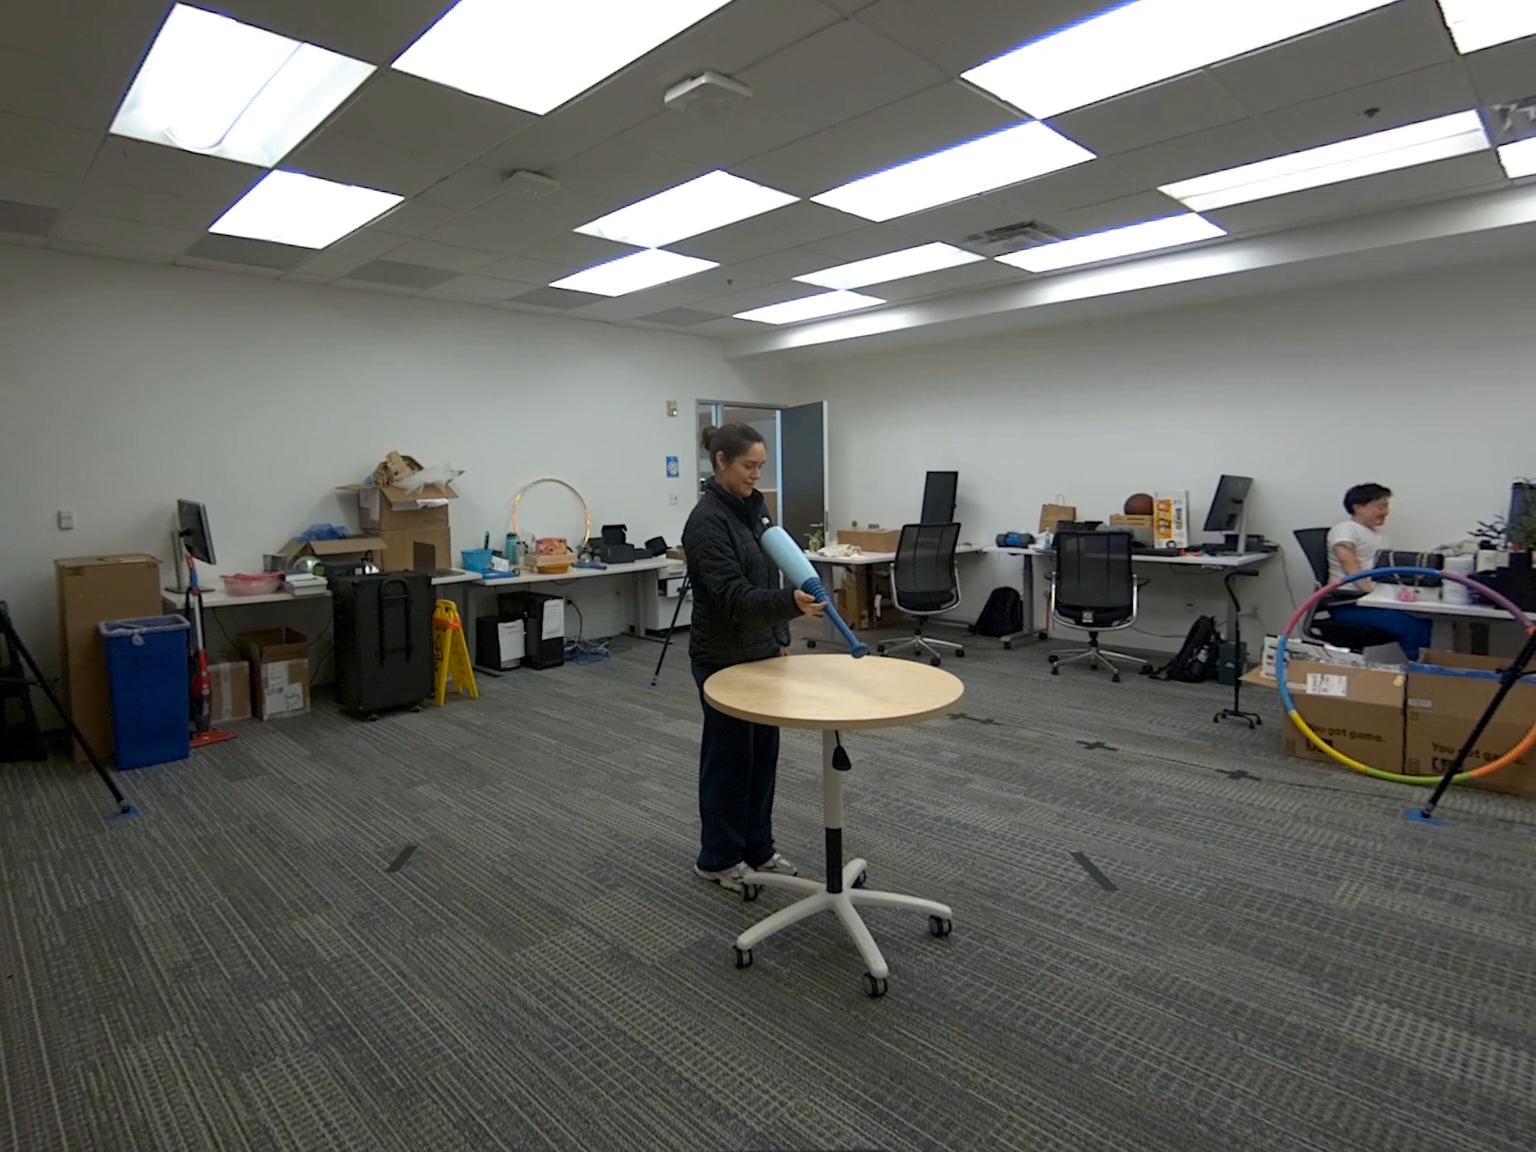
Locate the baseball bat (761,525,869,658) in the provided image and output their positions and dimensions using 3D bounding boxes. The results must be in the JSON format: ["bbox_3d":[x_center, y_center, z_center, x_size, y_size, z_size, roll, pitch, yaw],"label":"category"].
[{"bbox_3d":[0.137,0.044,2.561,0.087,0.088,0.564,-4,42,-31],"label":"baseball bat"}]
